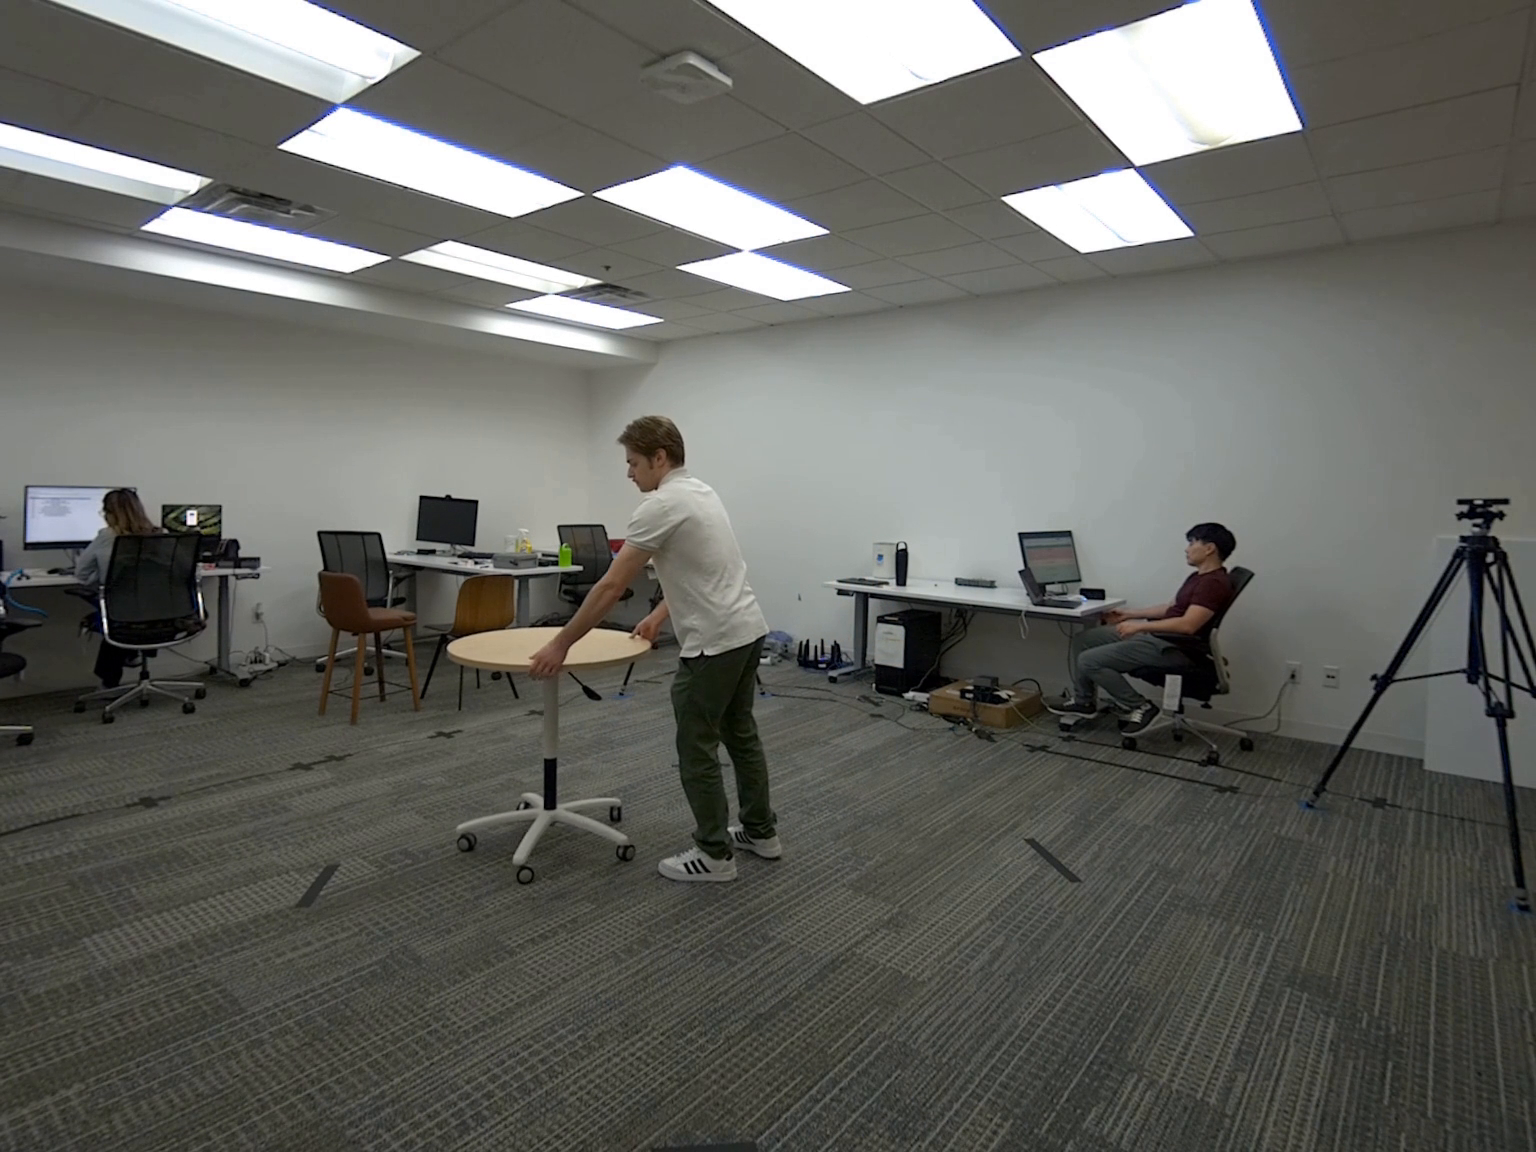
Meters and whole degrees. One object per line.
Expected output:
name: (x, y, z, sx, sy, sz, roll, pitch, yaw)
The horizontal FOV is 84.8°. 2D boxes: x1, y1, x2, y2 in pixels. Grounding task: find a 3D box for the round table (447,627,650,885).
round table: (-0.846, 0.653, 3.293, 0.763, 0.791, 0.768, 1, 4, -2)
